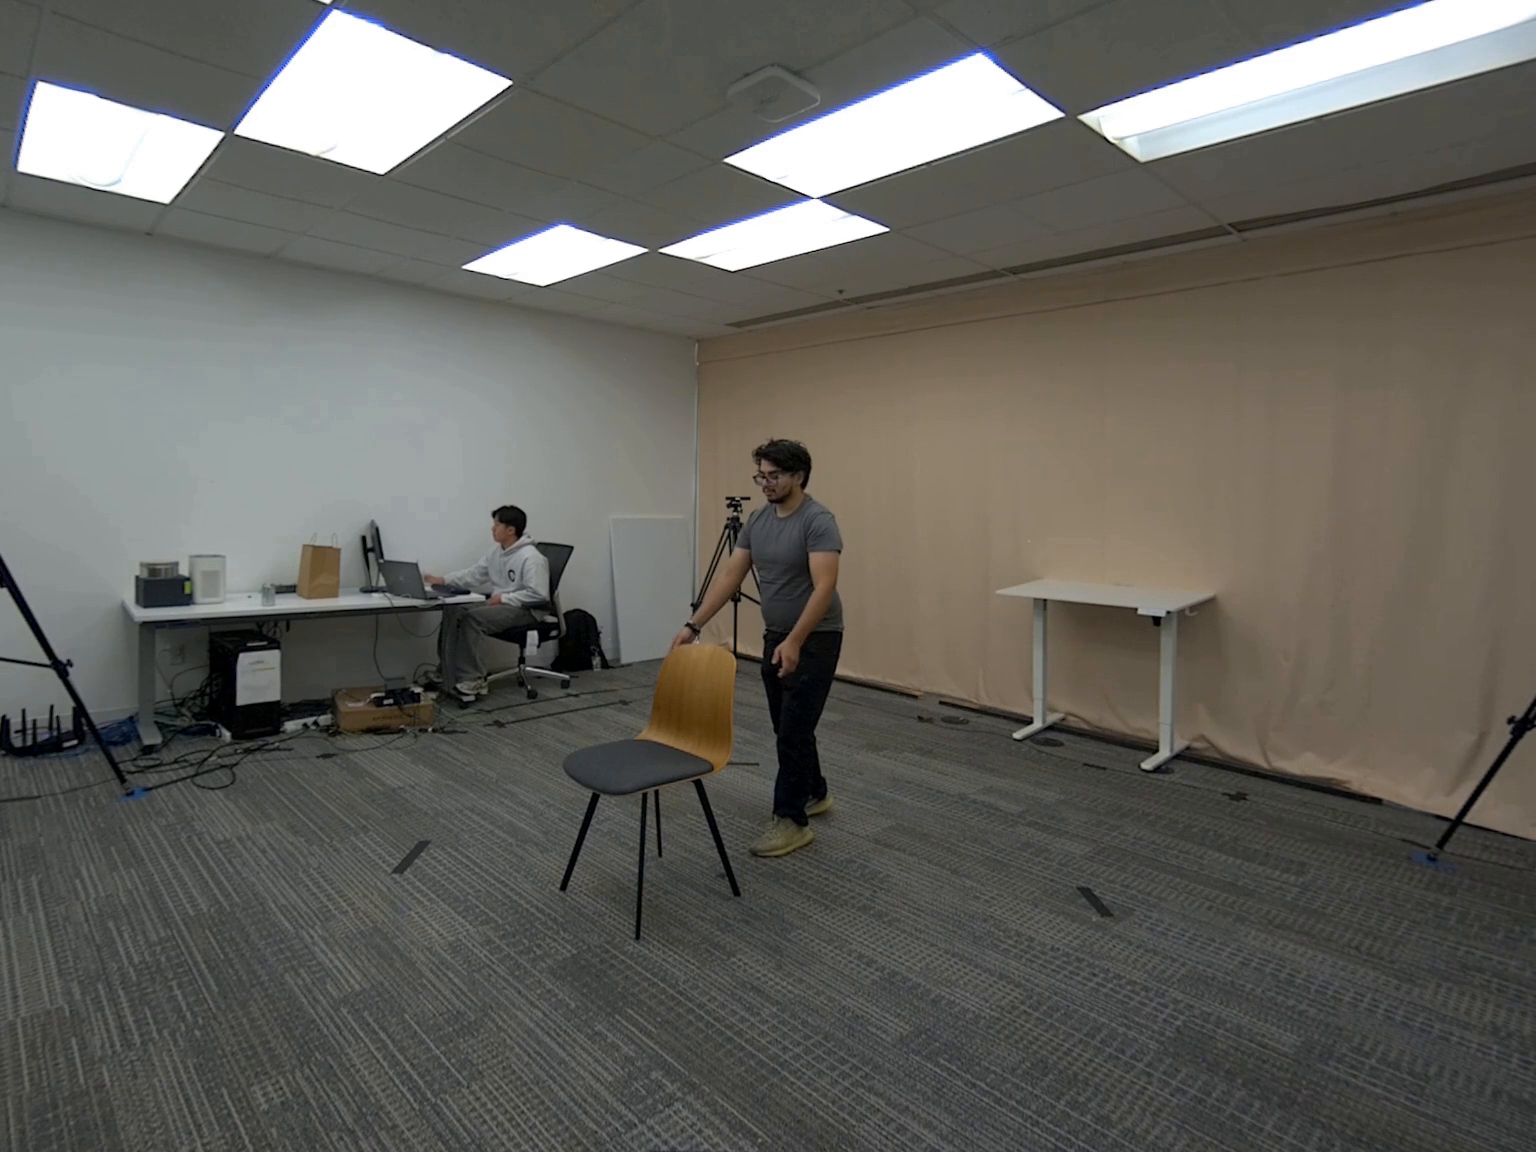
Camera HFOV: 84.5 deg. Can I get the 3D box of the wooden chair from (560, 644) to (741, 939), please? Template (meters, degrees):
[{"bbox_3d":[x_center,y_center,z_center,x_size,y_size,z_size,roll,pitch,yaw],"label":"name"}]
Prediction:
[{"bbox_3d":[-0.414,0.691,2.913,0.510,0.877,0.490,4,1,-45],"label":"wooden chair"}]
